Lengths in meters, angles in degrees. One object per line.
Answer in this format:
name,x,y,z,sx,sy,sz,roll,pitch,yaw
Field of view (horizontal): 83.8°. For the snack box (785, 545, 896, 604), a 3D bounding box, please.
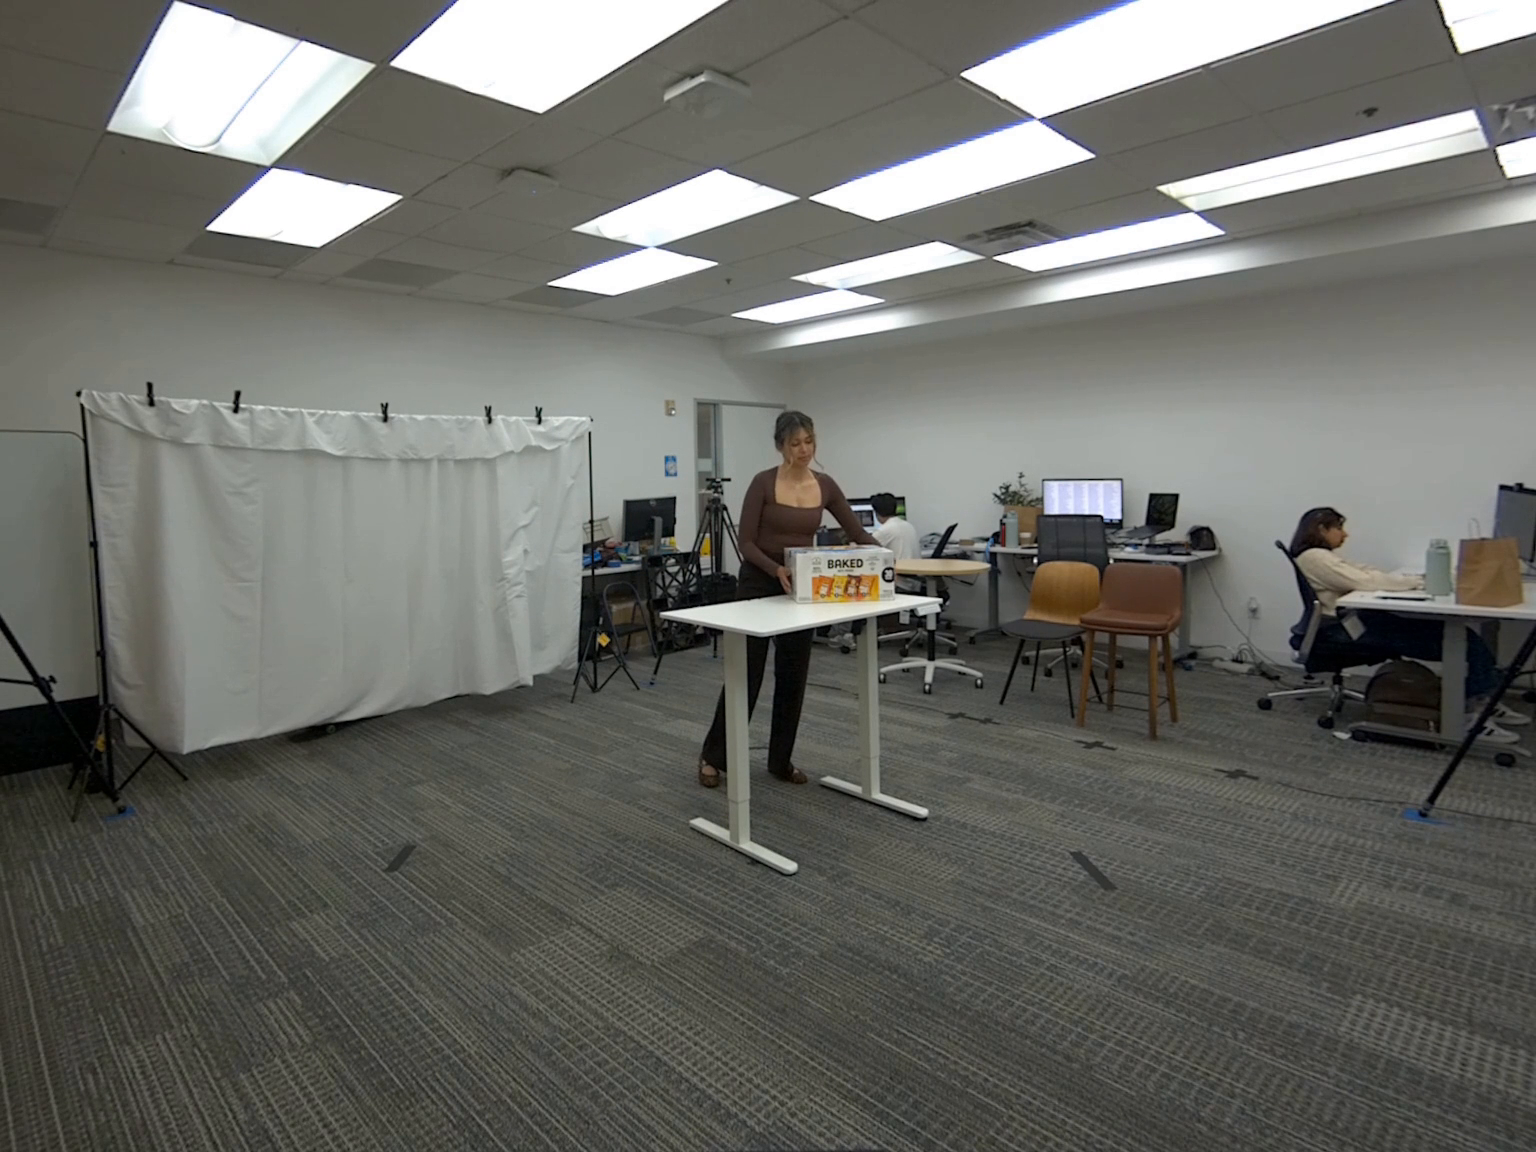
snack box,0.299,-0.010,3.645,0.404,0.205,0.343,-2,5,-4
